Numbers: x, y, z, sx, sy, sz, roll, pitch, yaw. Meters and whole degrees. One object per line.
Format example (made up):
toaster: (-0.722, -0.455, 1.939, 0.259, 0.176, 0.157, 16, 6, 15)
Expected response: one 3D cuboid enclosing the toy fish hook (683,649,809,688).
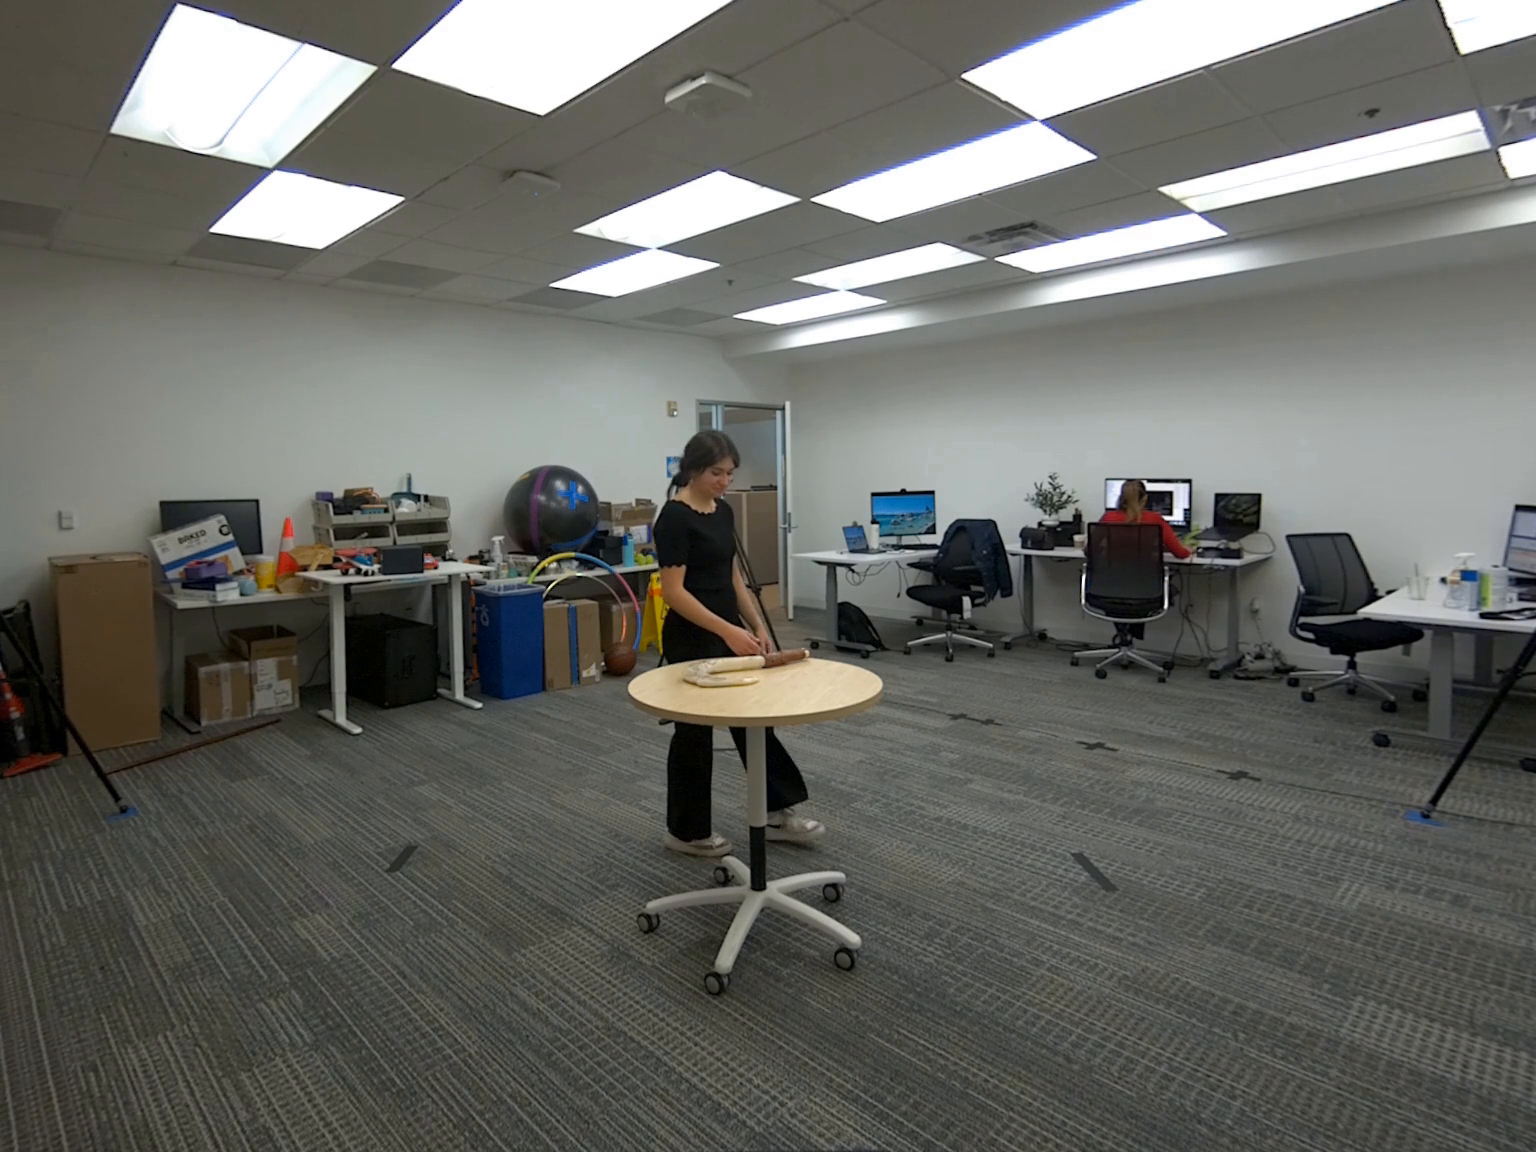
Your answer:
toy fish hook: (-0.026, 0.301, 2.708, 0.494, 0.048, 0.232, -7, 17, -36)
